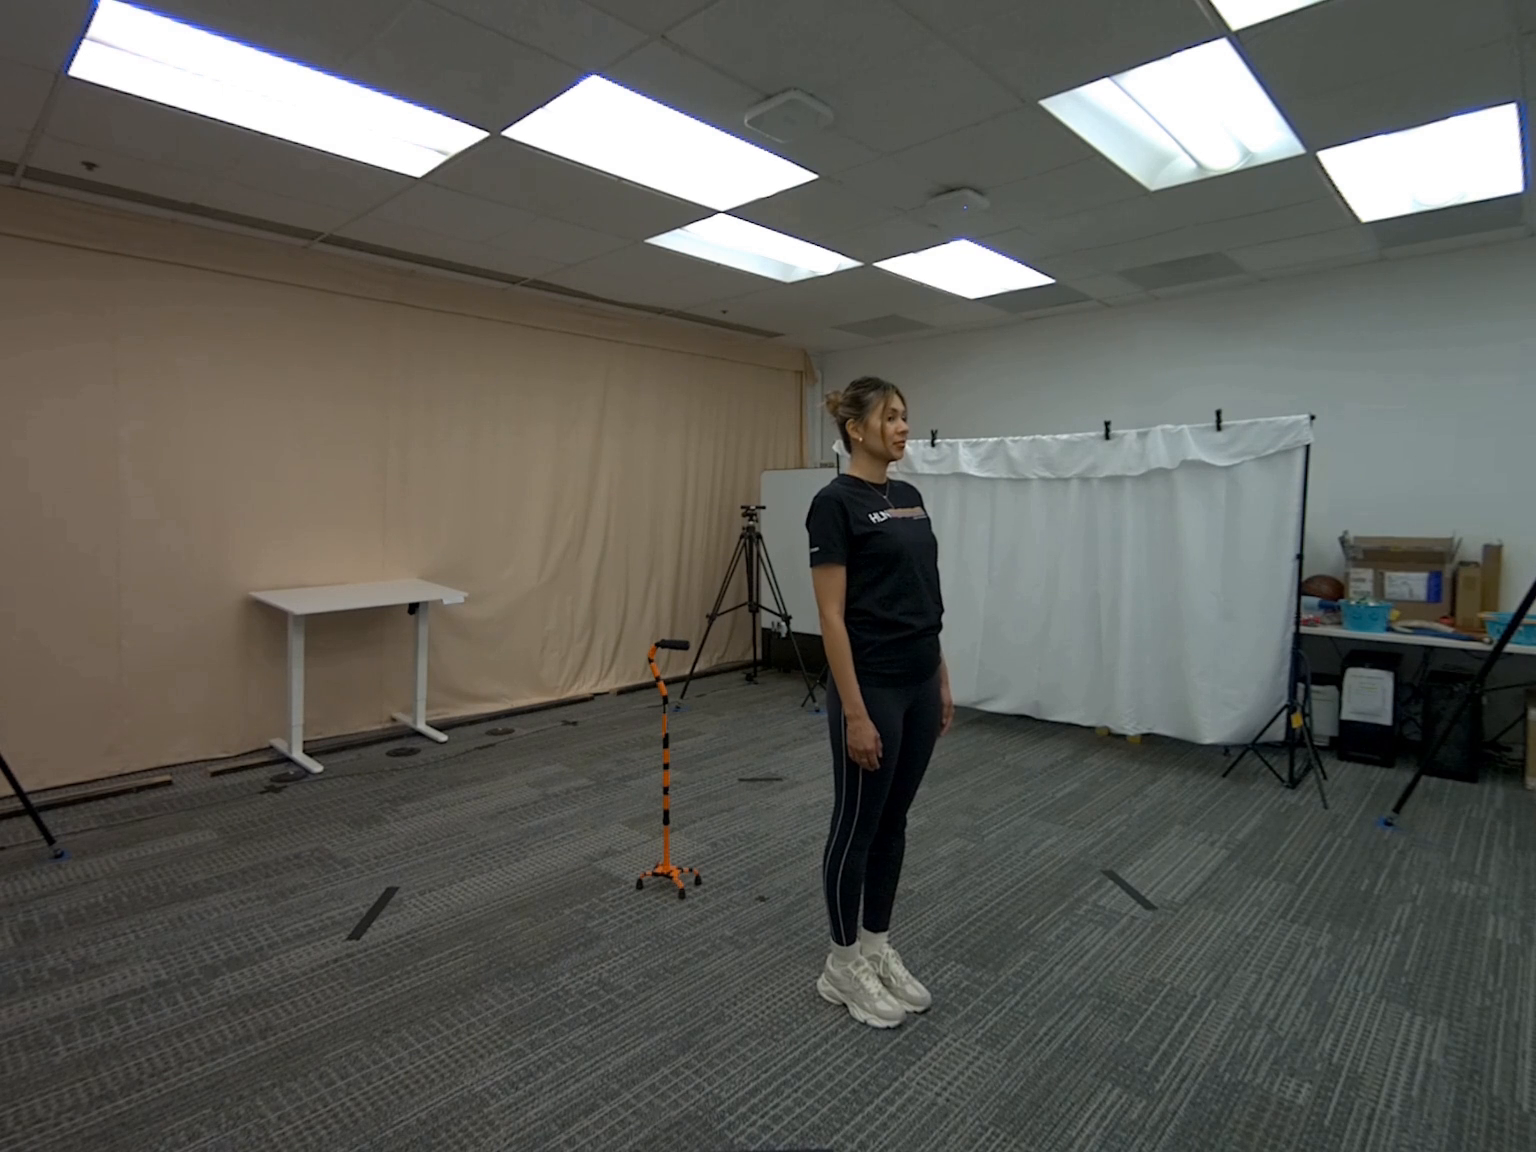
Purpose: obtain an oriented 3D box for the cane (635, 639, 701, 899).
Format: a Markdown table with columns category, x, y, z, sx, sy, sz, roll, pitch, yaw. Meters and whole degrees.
| category | x | y | z | sx | sy | sz | roll | pitch | yaw |
| --- | --- | --- | --- | --- | --- | --- | --- | --- | --- |
| cane | -0.363 | 0.682 | 3.067 | 0.211 | 0.906 | 0.148 | 0 | 3 | 22 |
